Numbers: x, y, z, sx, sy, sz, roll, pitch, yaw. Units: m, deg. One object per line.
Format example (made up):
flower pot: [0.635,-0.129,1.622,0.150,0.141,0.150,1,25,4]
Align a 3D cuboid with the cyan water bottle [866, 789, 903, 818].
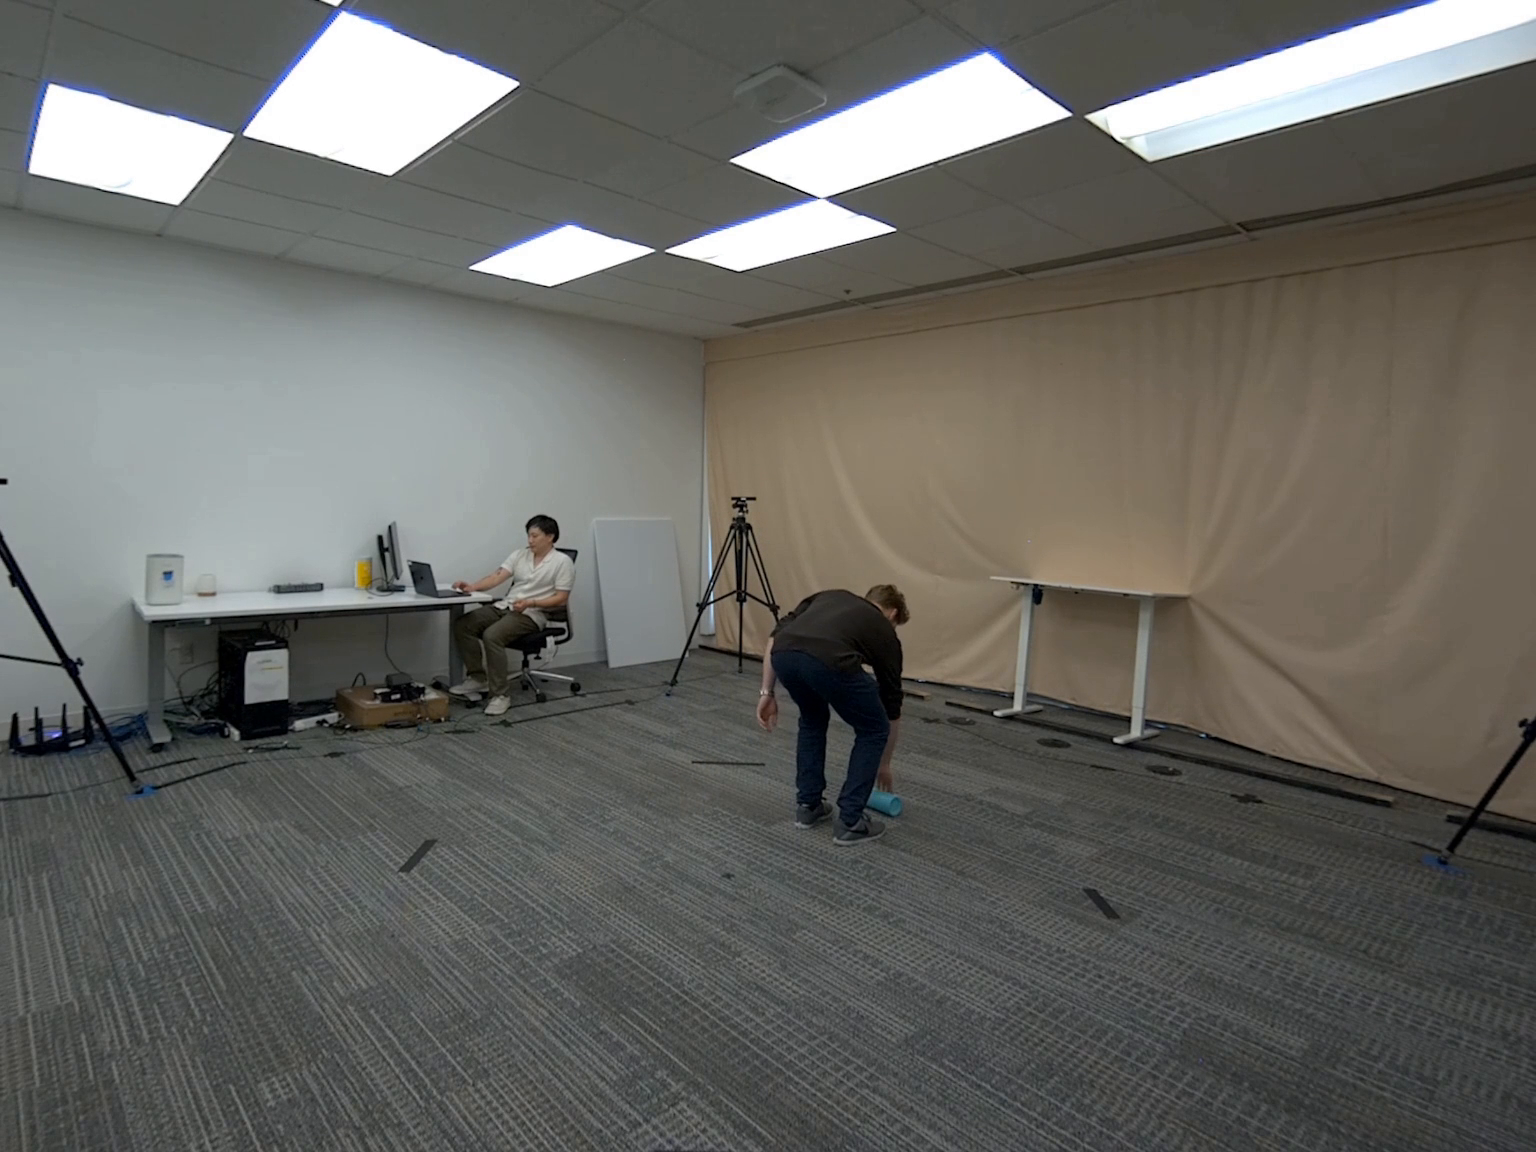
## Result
cyan water bottle: [0.468,1.013,3.852,0.090,0.092,0.290,-2,5,-38]
